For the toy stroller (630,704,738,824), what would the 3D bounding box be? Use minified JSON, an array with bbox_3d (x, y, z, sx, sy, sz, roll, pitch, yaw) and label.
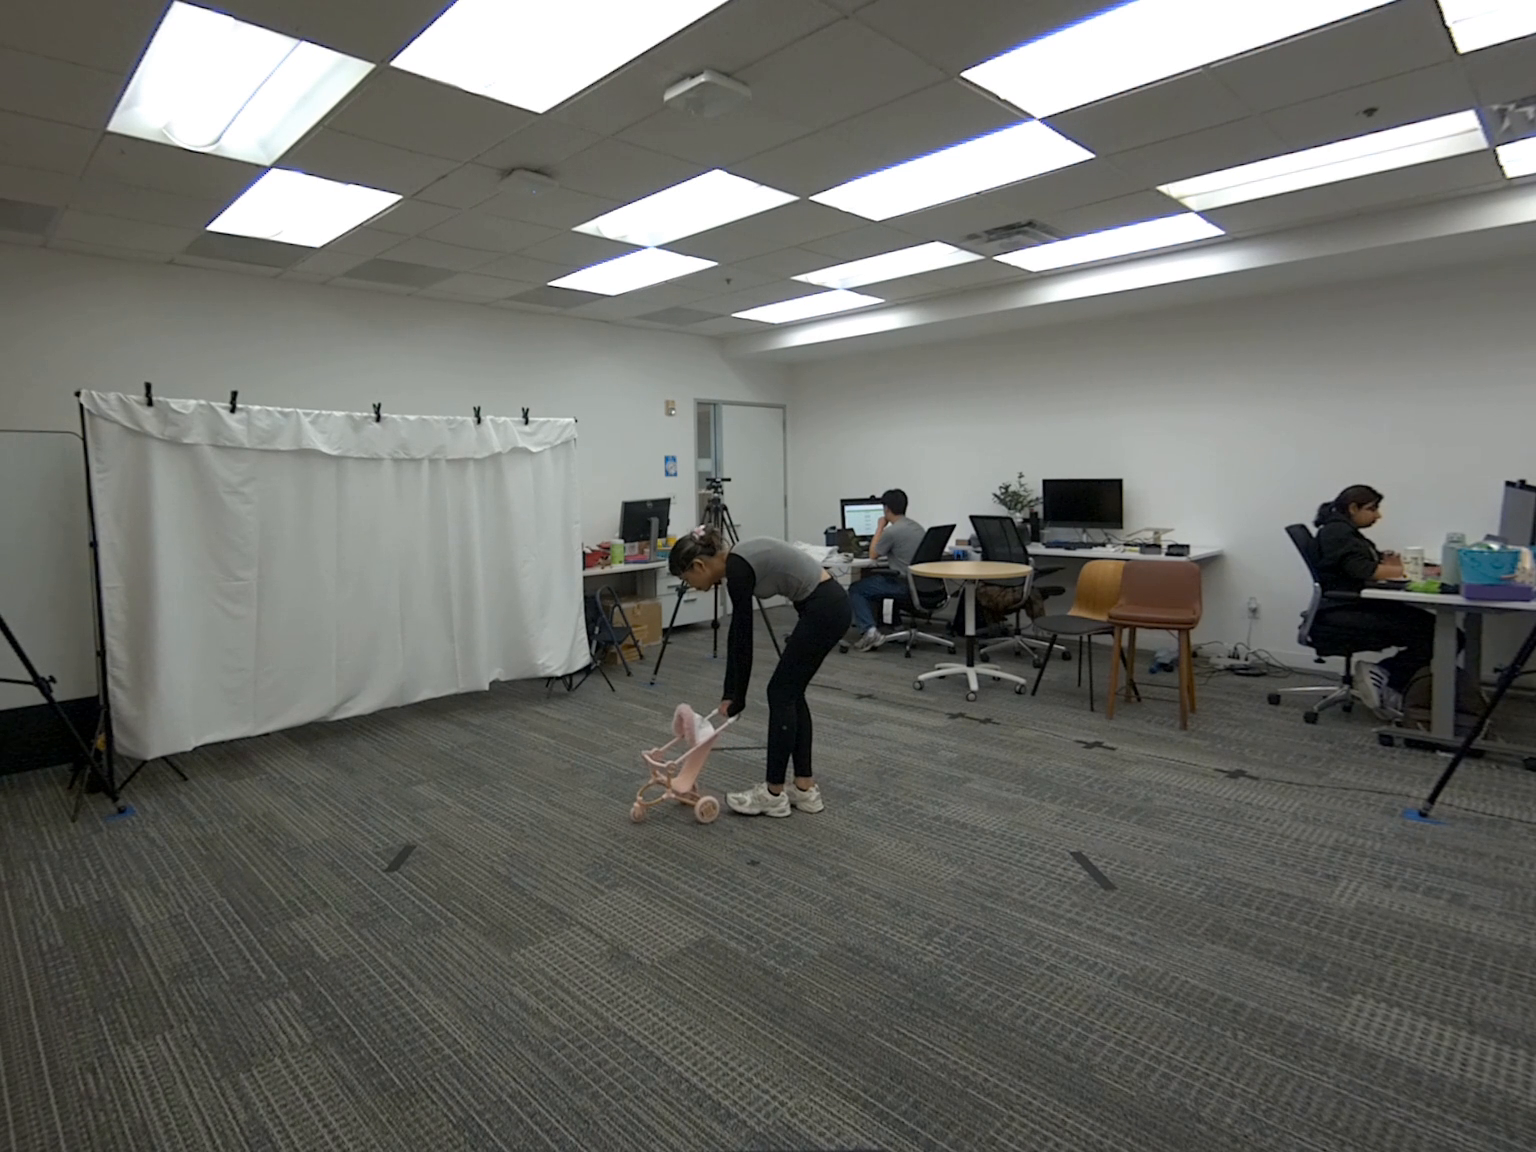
[{"bbox_3d":[-0.361,0.772,3.554,0.334,0.536,0.287,15,-2,-19],"label":"toy stroller"}]
